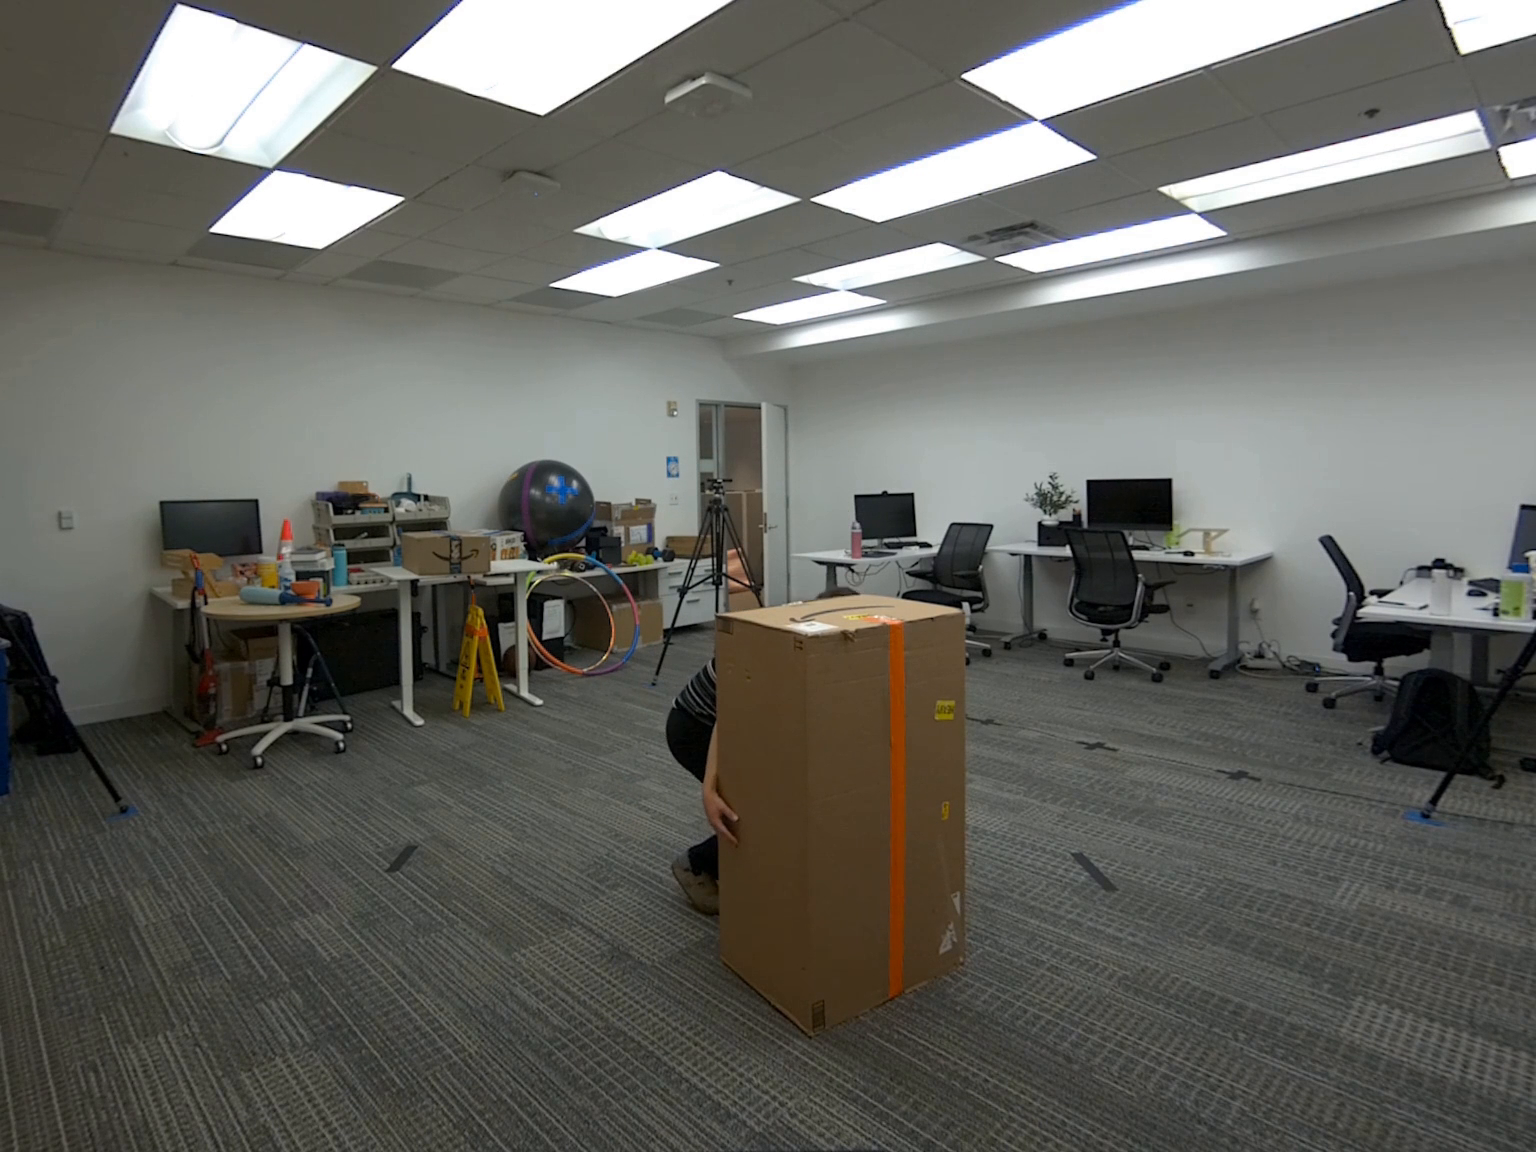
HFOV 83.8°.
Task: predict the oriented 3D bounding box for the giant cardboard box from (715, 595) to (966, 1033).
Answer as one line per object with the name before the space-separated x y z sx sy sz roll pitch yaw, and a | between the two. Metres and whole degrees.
giant cardboard box | 0.211 0.610 2.432 0.563 1.022 0.439 -4 5 -36
